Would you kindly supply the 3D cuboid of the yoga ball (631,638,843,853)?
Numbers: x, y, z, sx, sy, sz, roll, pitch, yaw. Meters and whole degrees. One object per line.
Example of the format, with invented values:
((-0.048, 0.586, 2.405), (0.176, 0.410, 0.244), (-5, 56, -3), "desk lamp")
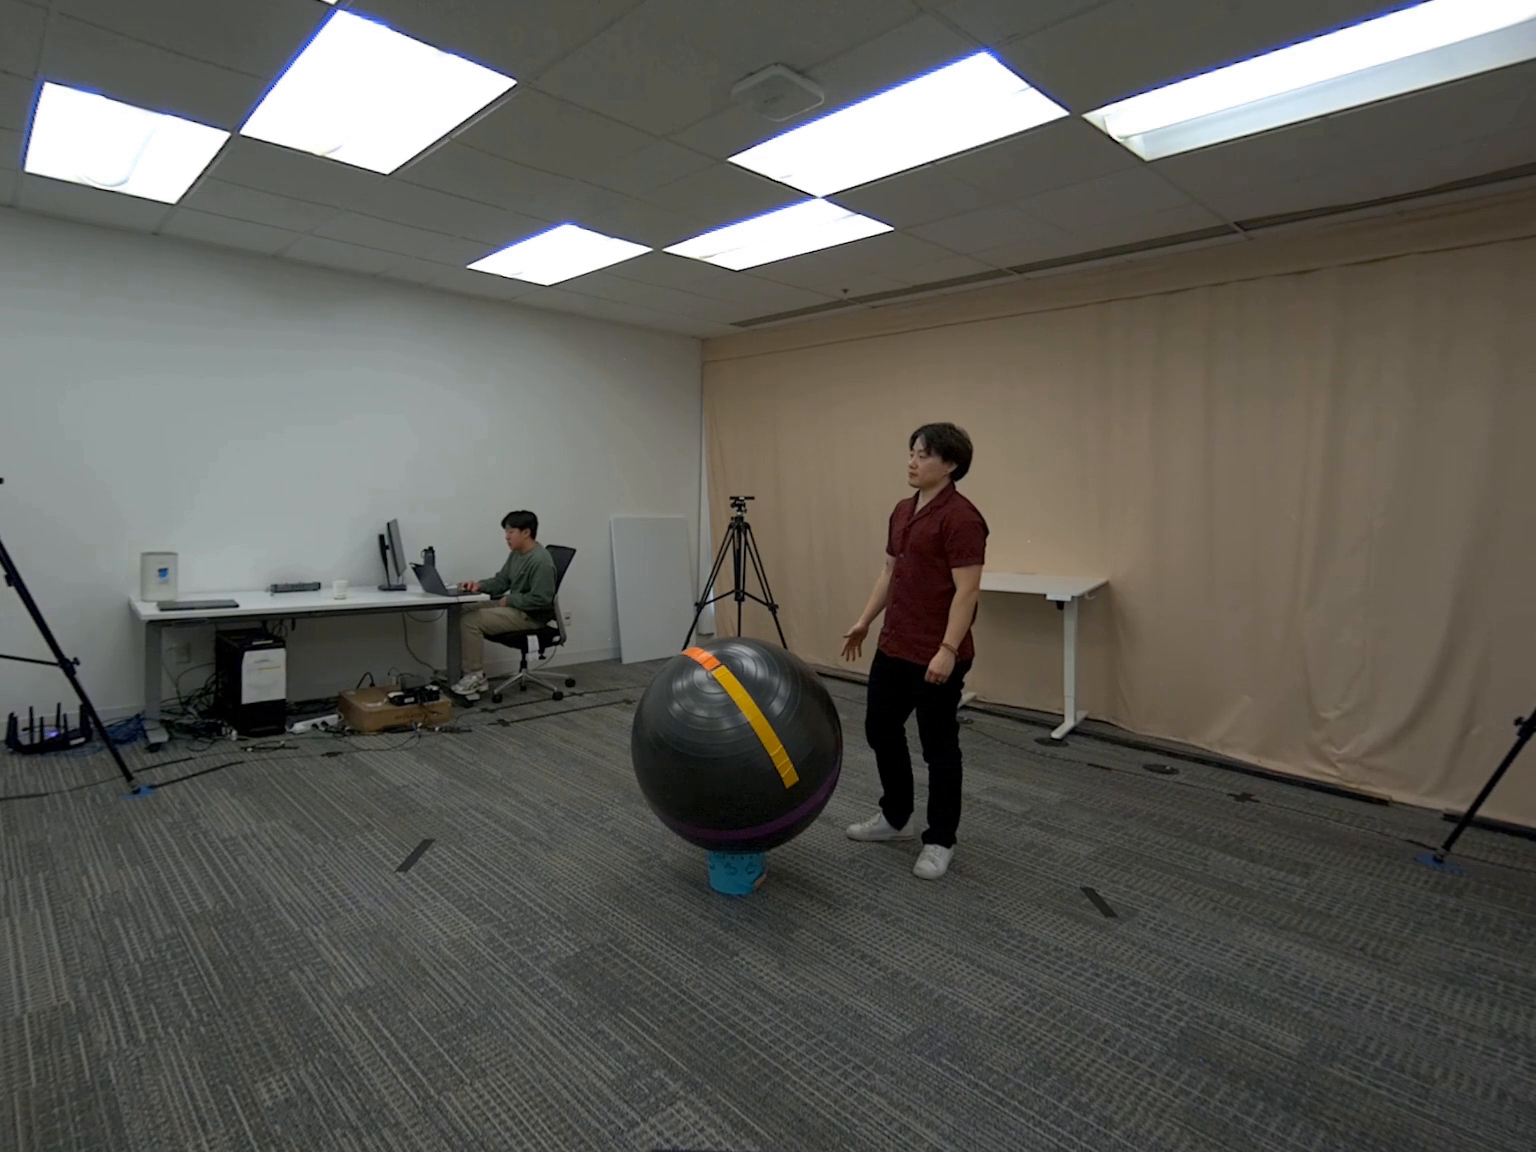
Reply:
((-0.121, 0.608, 3.019), (0.757, 0.756, 0.761), (1, 4, -1), "yoga ball")
